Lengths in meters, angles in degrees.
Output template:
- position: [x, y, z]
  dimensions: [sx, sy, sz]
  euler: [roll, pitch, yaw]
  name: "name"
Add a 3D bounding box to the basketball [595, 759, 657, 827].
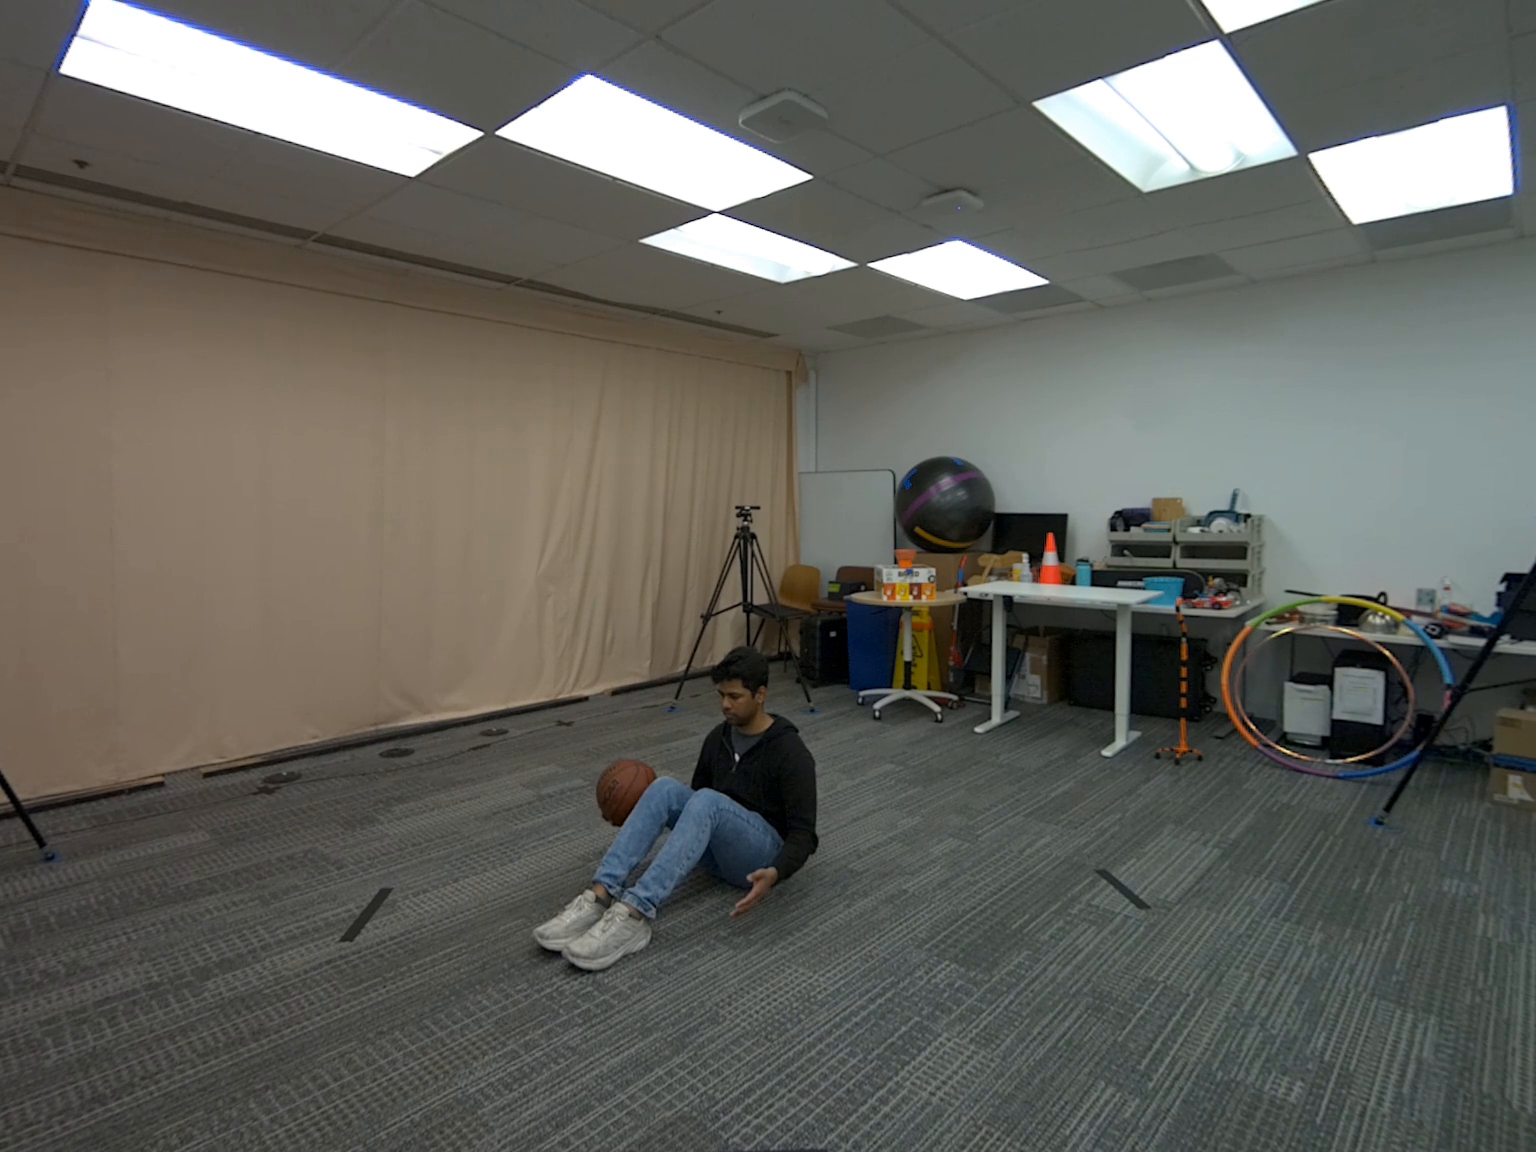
- position: [-0.517, 0.803, 3.151]
  dimensions: [0.236, 0.235, 0.237]
  euler: [0, 4, -2]
  name: "basketball"
